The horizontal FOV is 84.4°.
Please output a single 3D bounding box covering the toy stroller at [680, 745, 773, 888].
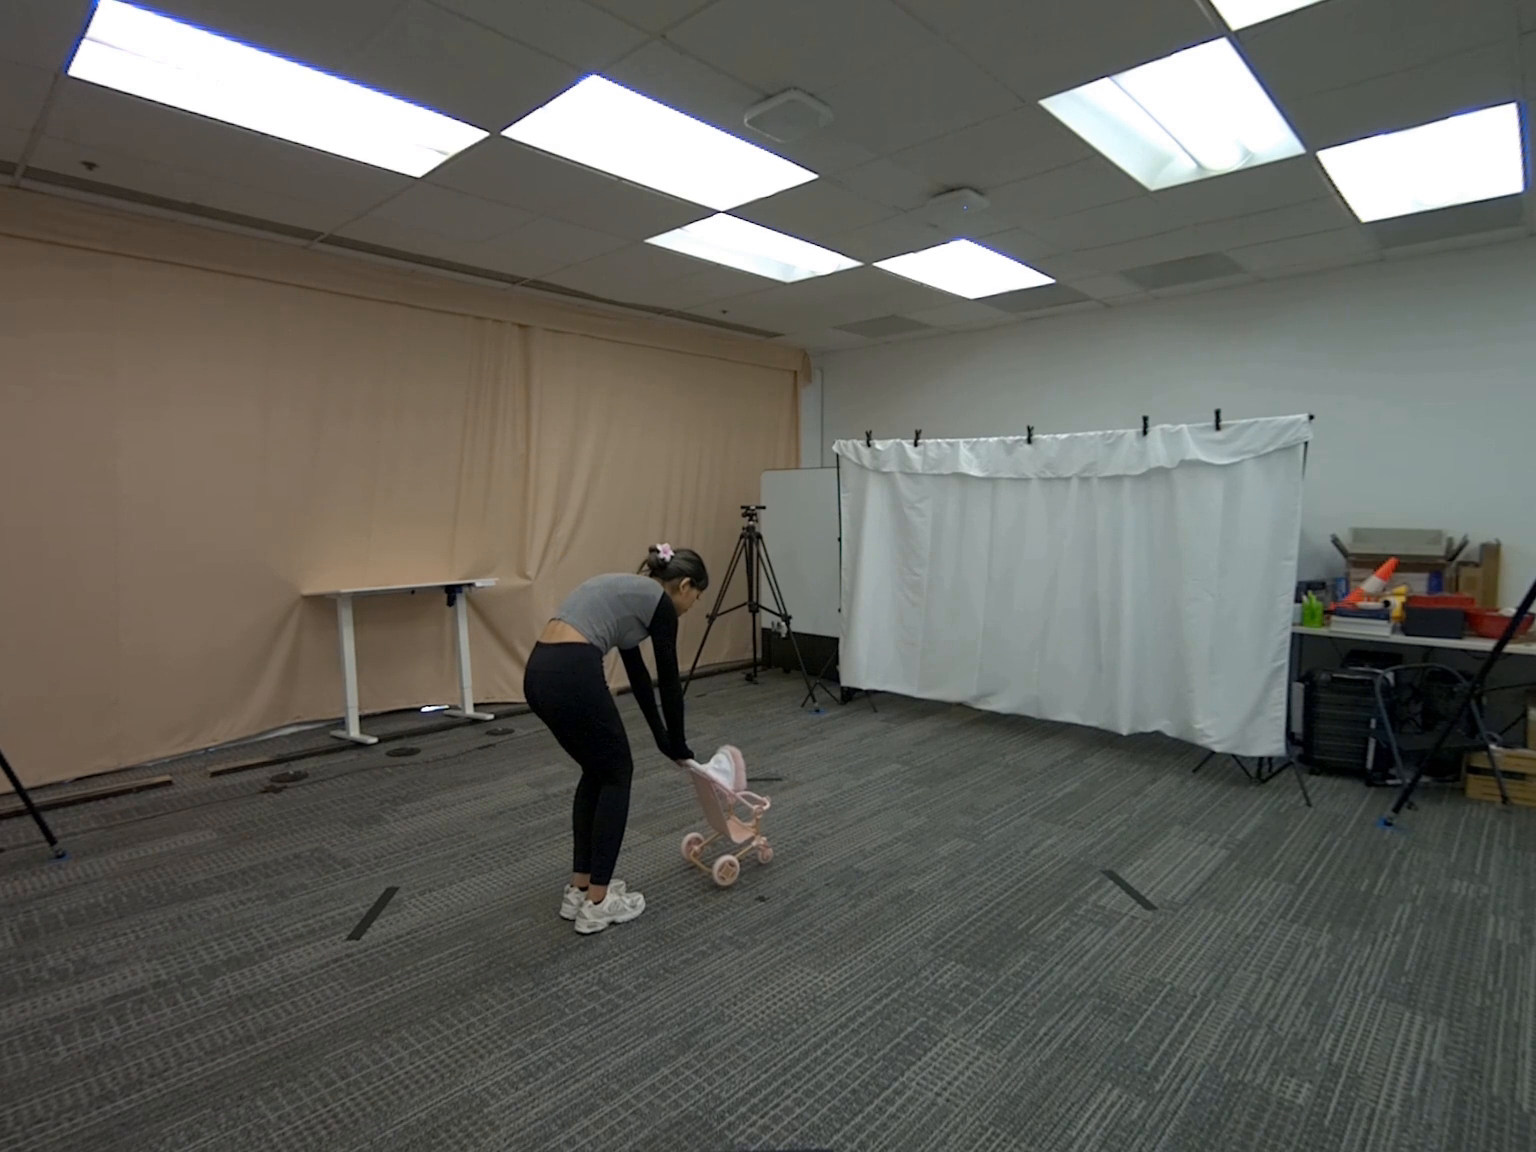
[{"bbox_3d":[-0.149,0.881,3.177,0.334,0.532,0.289,-12,8,-28],"label":"toy stroller"}]
